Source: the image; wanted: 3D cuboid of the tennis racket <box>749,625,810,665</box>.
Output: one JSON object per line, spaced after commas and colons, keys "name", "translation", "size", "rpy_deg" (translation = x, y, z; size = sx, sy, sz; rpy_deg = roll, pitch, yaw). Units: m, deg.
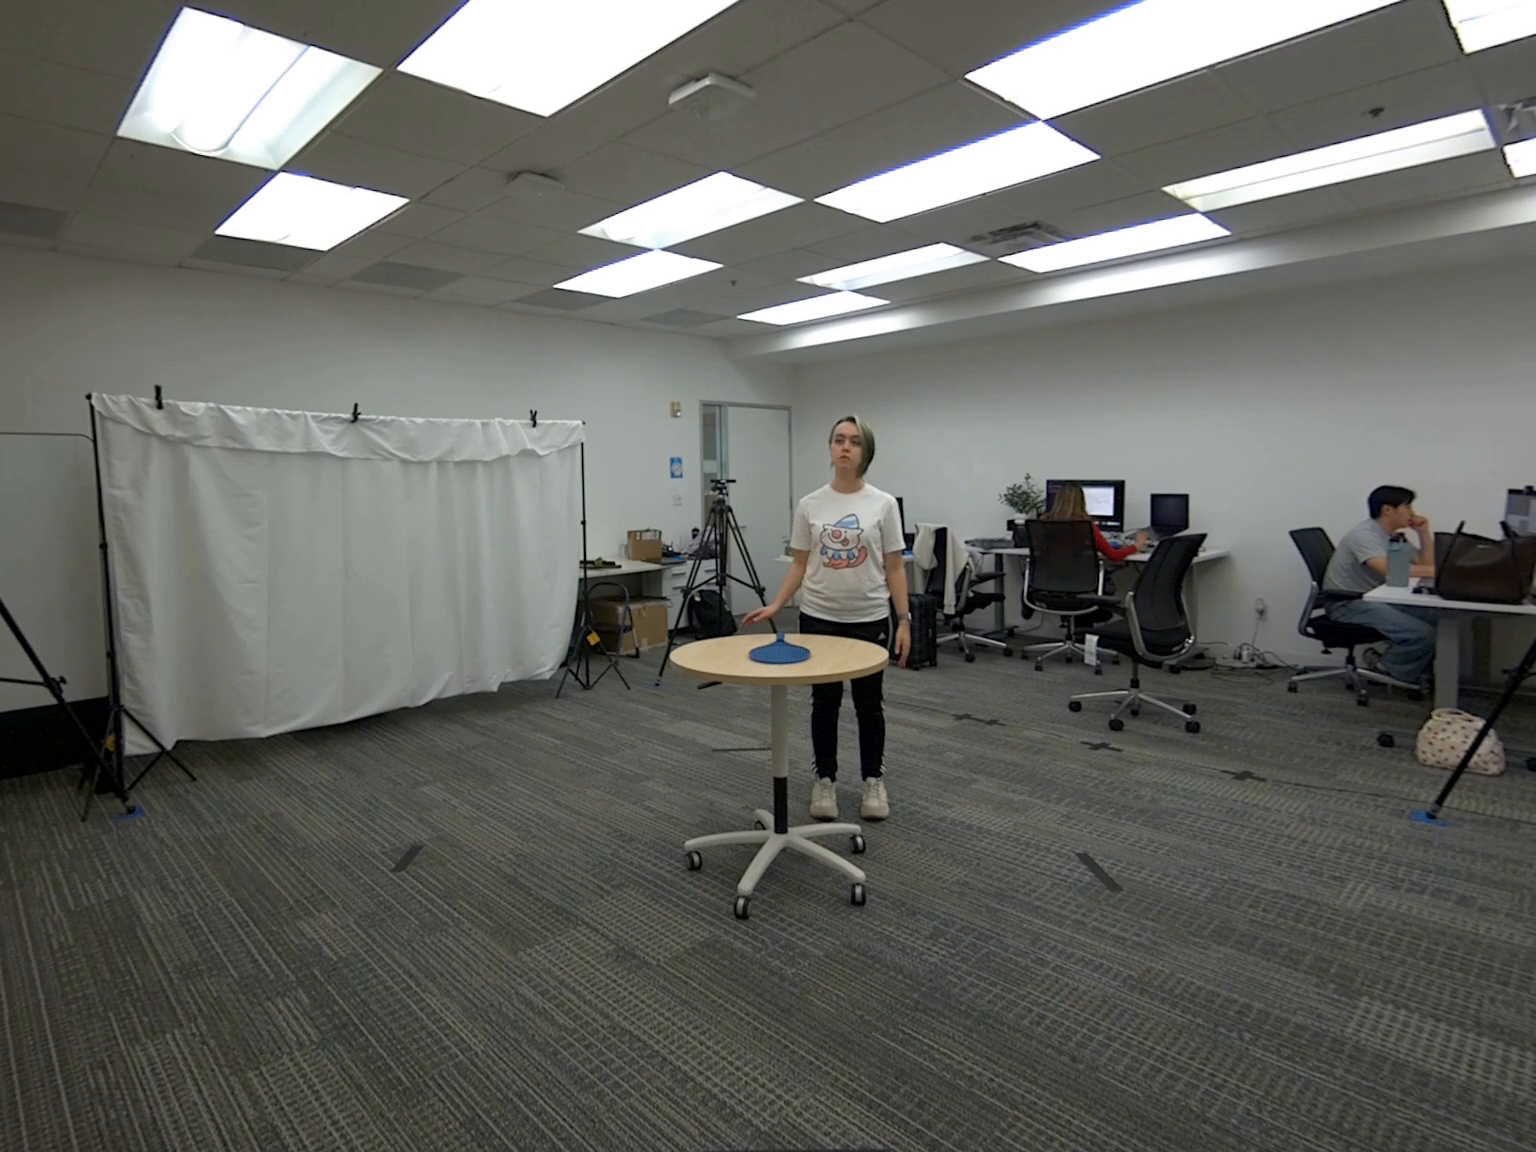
{"name": "tennis racket", "translation": [0.055, 0.262, 3.025], "size": [0.215, 0.031, 0.432], "rpy_deg": [0, 7, 5]}
